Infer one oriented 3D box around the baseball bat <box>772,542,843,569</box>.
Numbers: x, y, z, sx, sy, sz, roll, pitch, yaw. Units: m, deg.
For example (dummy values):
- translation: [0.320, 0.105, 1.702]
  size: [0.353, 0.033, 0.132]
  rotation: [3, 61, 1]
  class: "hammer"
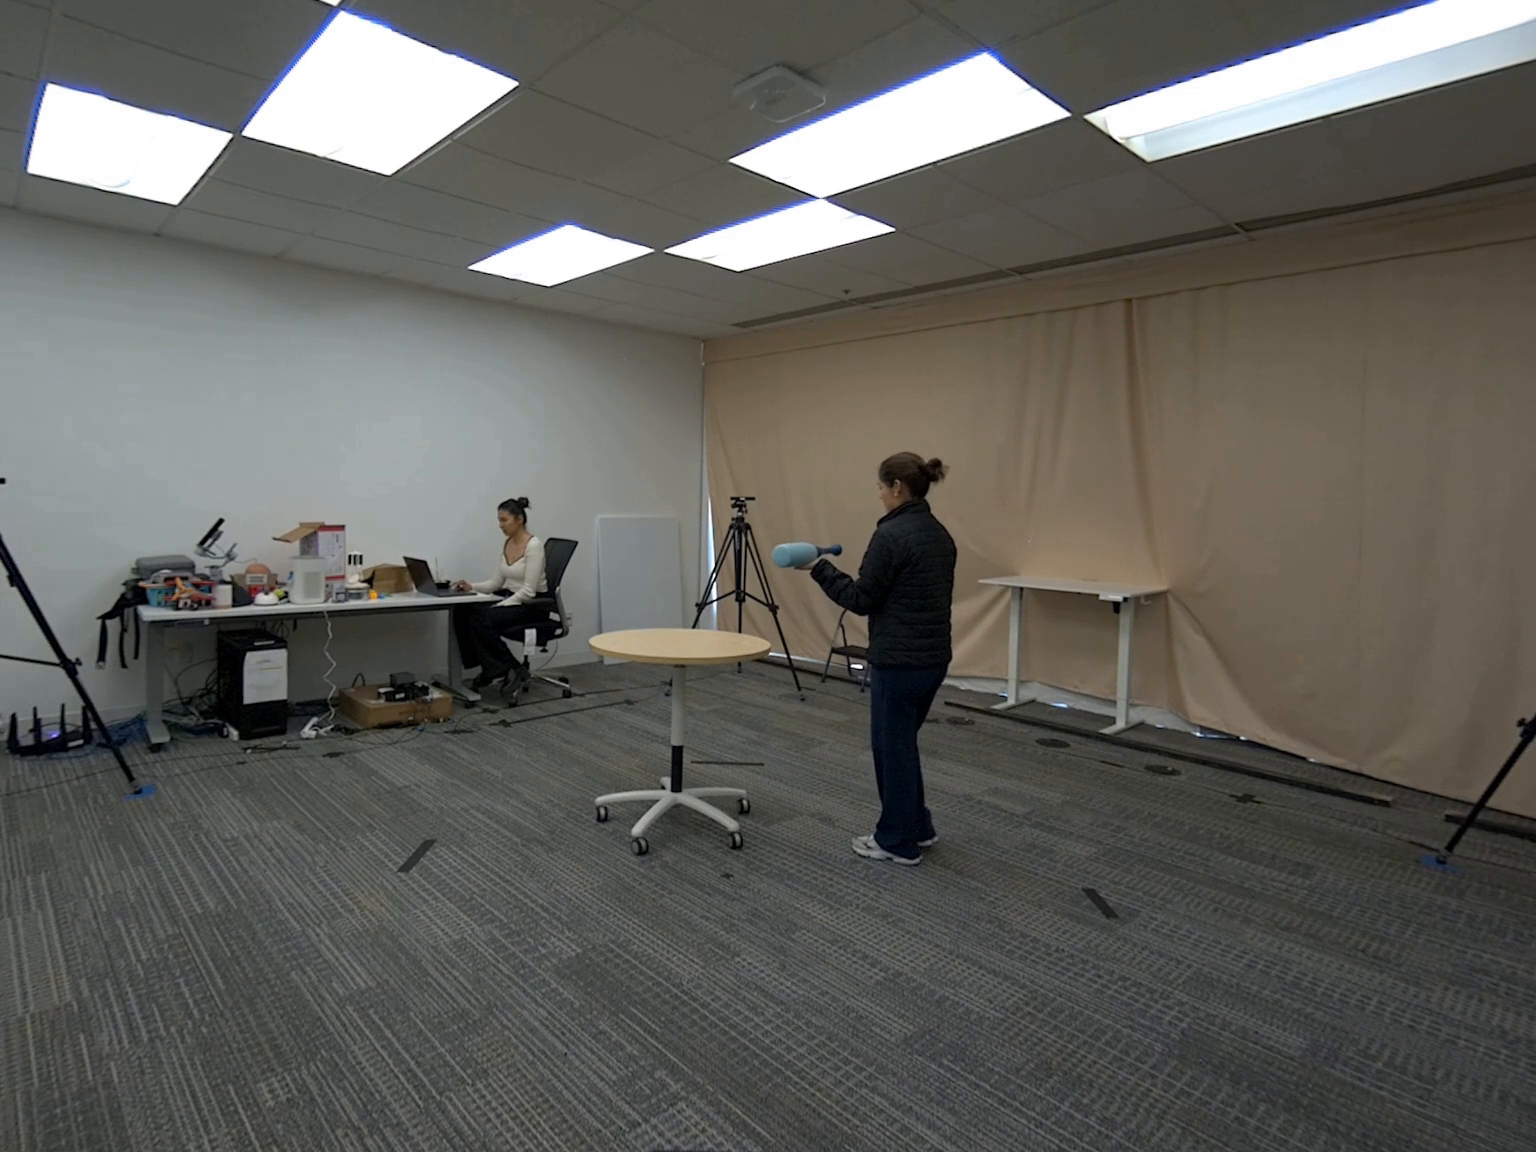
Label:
- translation: [0.165, -0.088, 3.289]
  size: [0.091, 0.089, 0.533]
  rotation: [3, 5, 26]
  class: "baseball bat"
